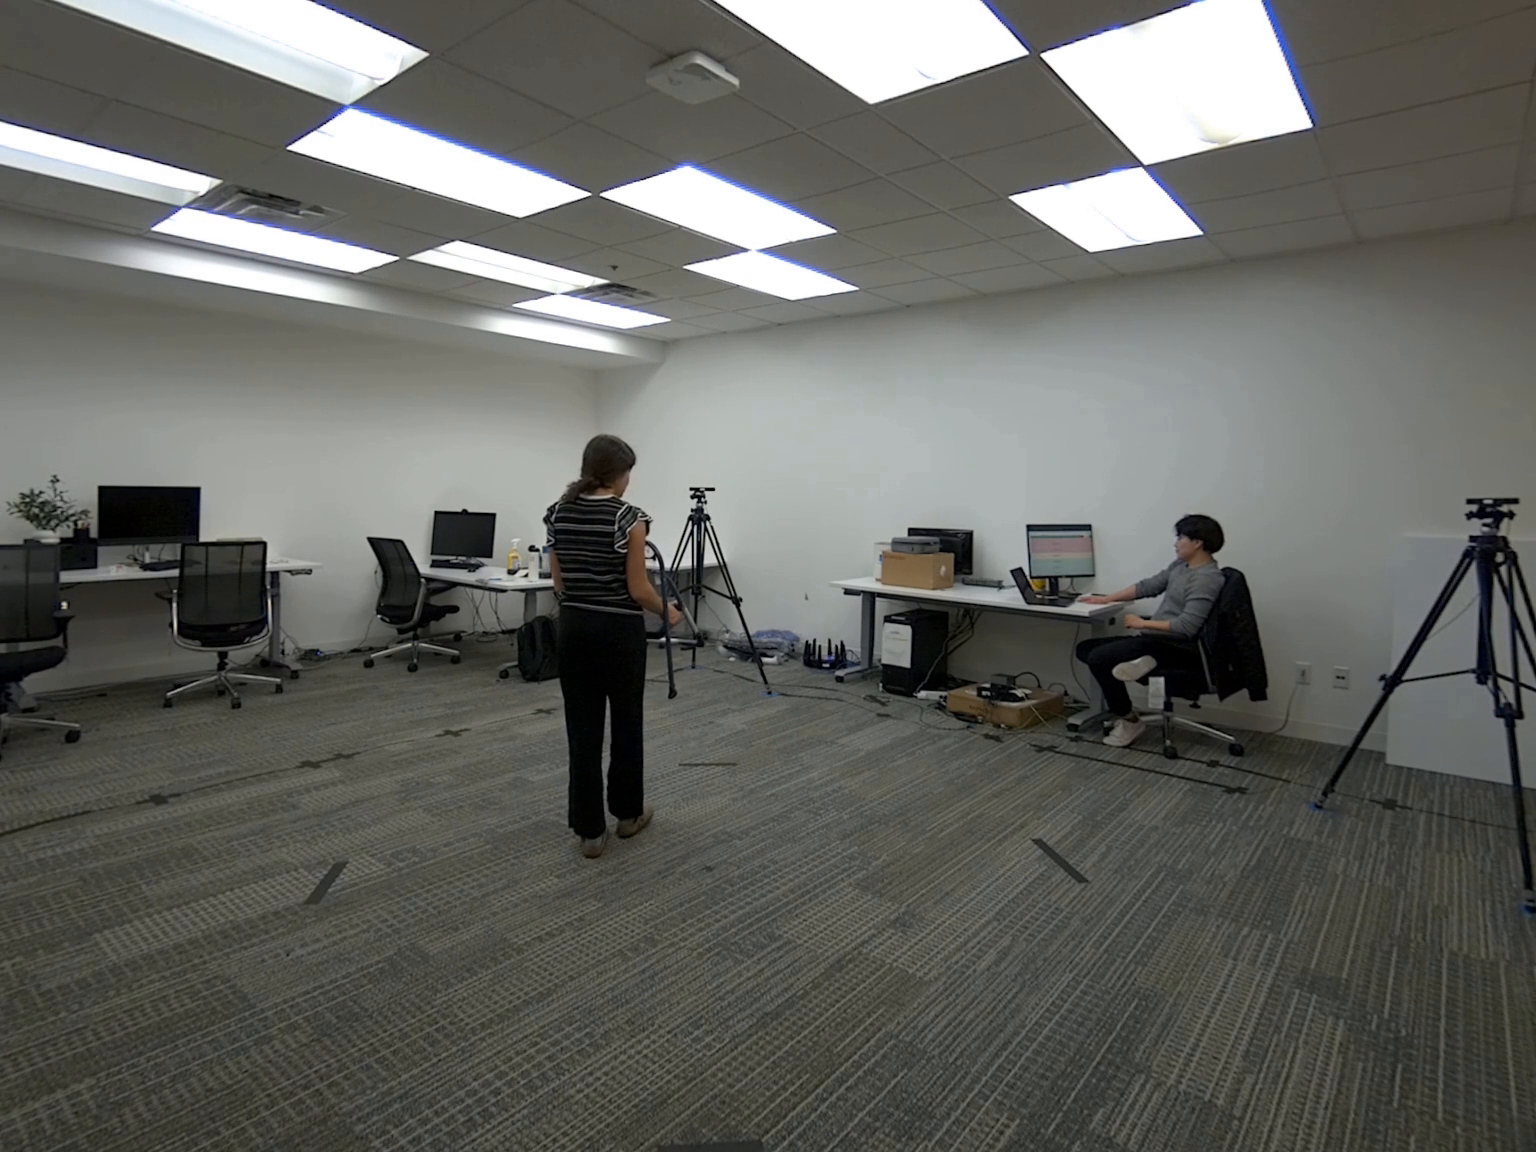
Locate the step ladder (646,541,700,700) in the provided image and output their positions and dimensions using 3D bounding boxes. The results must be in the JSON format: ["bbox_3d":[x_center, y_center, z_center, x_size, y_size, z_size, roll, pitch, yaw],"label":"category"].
[{"bbox_3d":[-0.579,0.128,3.460,0.441,0.589,0.351,1,31,23],"label":"step ladder"}]
